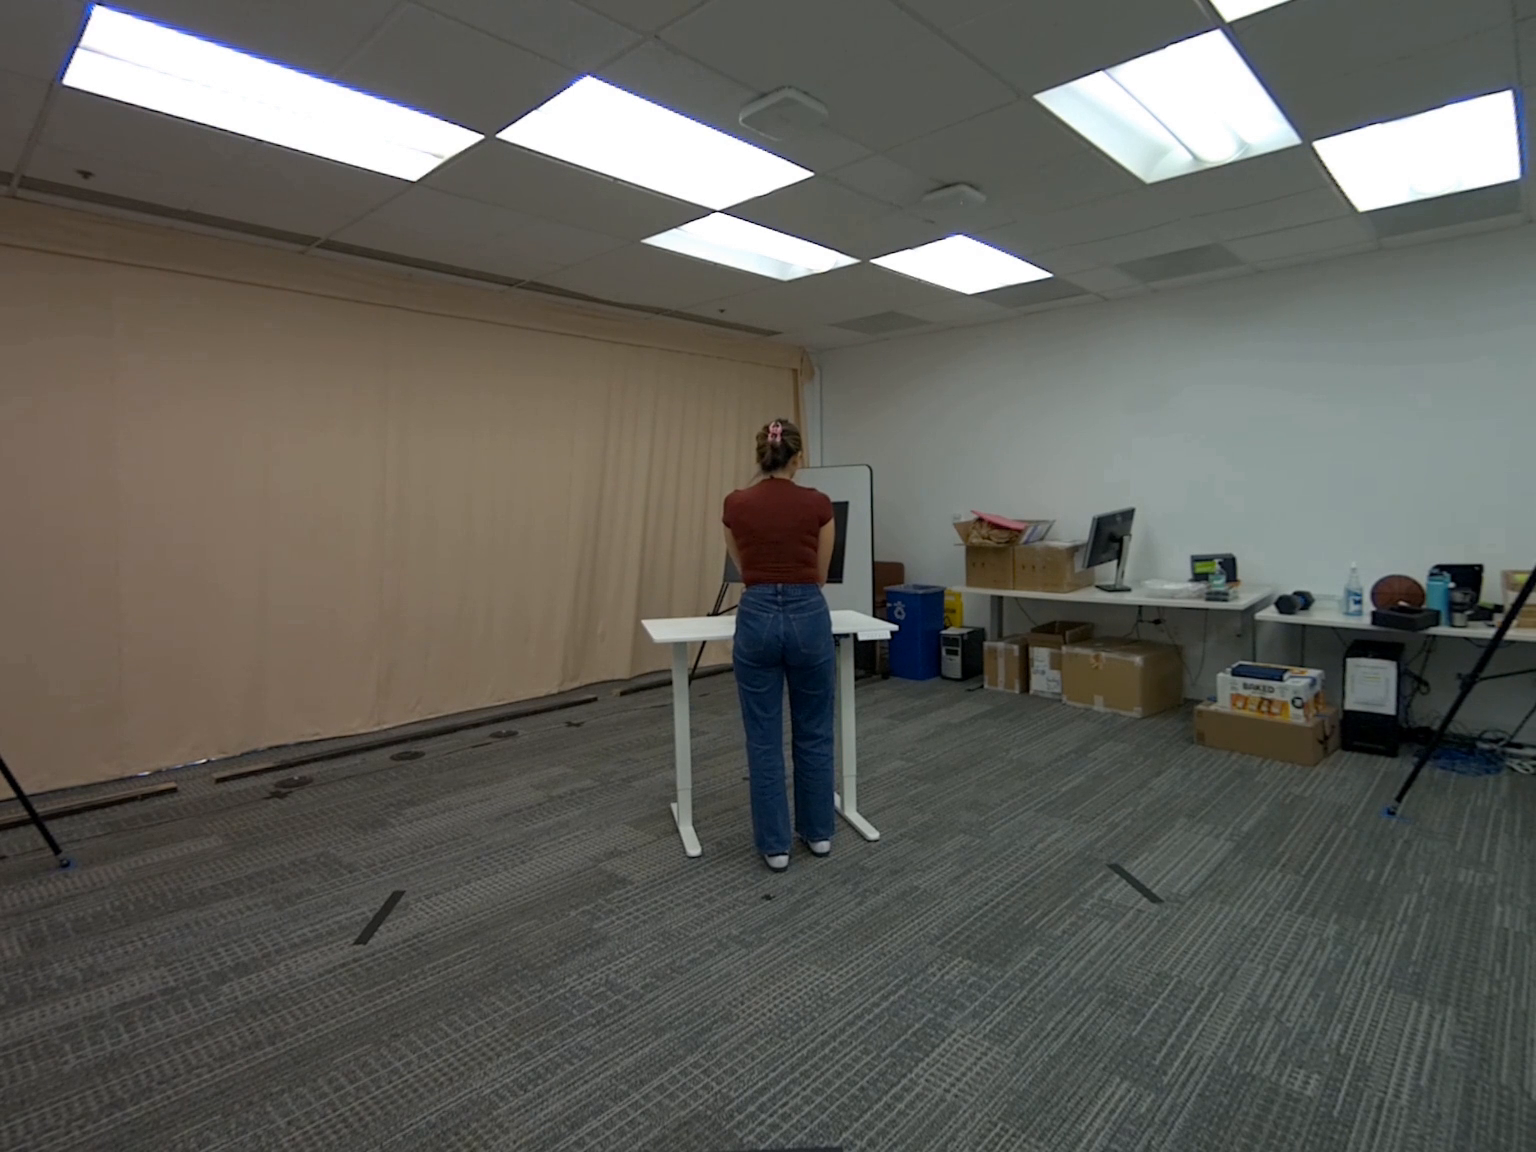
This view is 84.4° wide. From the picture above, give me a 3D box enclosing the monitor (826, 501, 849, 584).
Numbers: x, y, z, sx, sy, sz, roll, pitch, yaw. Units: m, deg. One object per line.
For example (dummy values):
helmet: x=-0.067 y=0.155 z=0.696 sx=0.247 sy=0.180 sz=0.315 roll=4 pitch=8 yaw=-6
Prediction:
monitor: x=0.093 y=-0.050 z=3.583 sx=0.552 sy=0.523 sz=0.183 roll=0 pitch=-1 yaw=23
